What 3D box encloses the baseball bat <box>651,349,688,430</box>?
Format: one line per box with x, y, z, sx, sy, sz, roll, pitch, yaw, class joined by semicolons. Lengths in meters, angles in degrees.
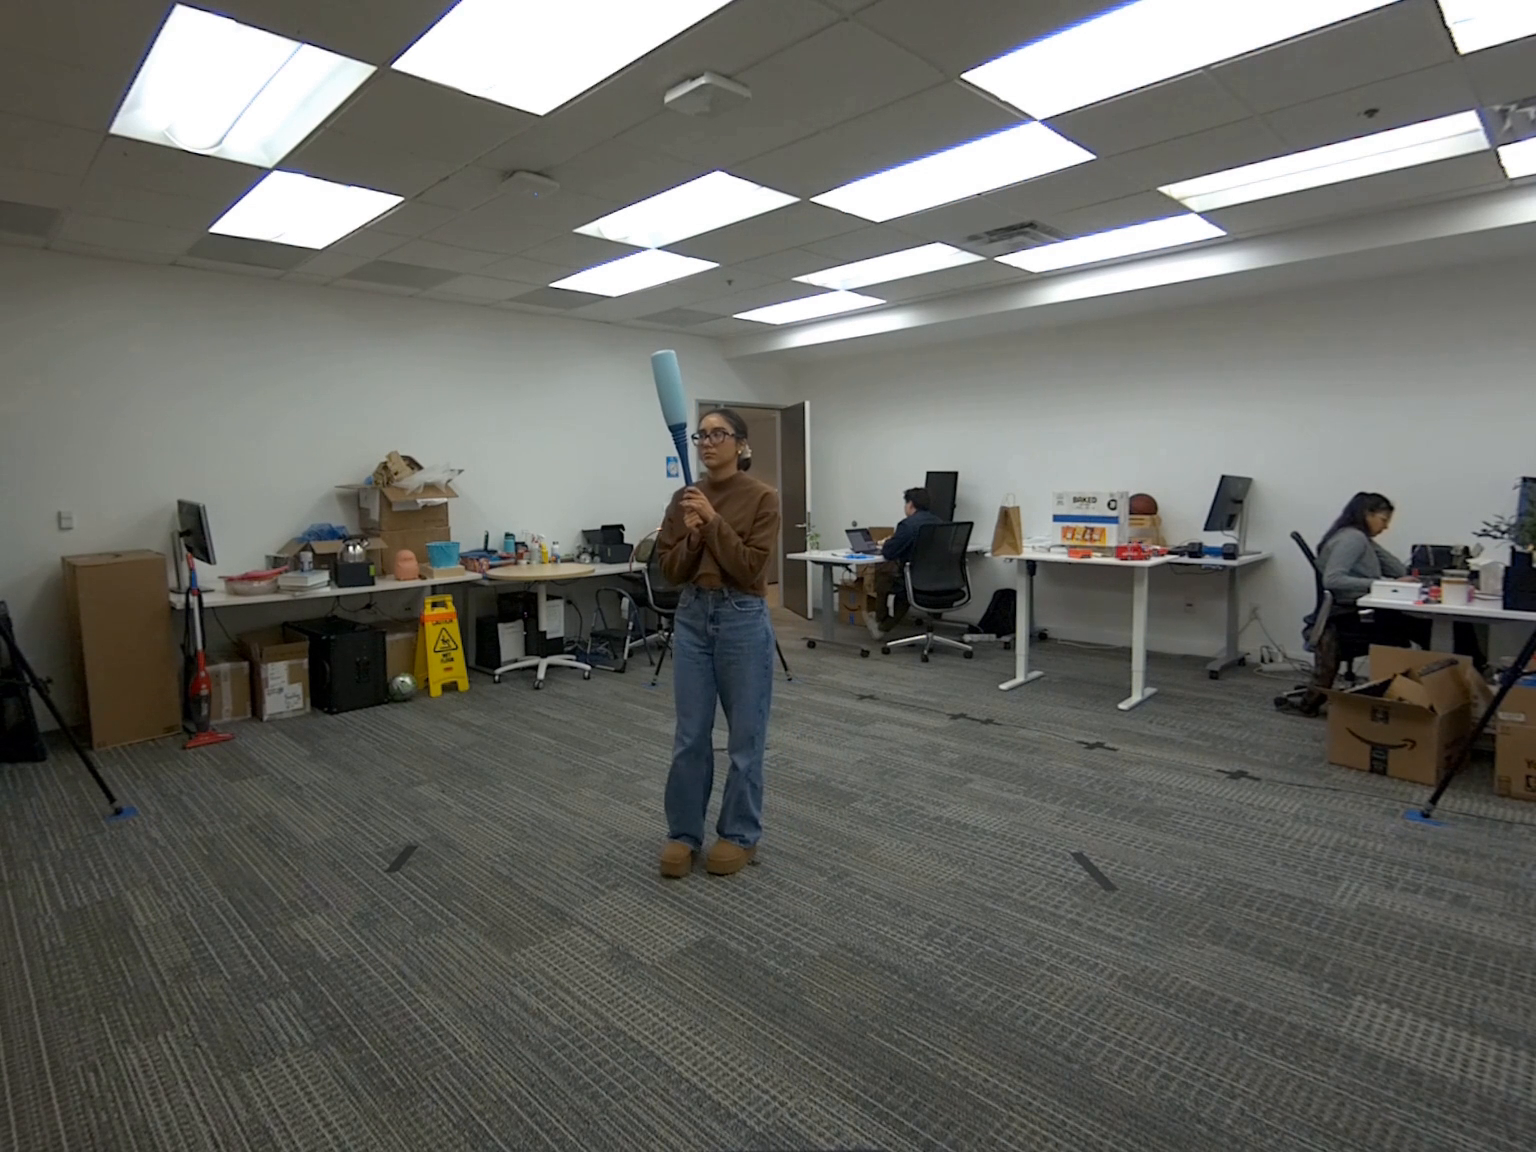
-0.306;-0.500;2.914;0.089;0.540;0.089;-11;5;0;baseball bat
